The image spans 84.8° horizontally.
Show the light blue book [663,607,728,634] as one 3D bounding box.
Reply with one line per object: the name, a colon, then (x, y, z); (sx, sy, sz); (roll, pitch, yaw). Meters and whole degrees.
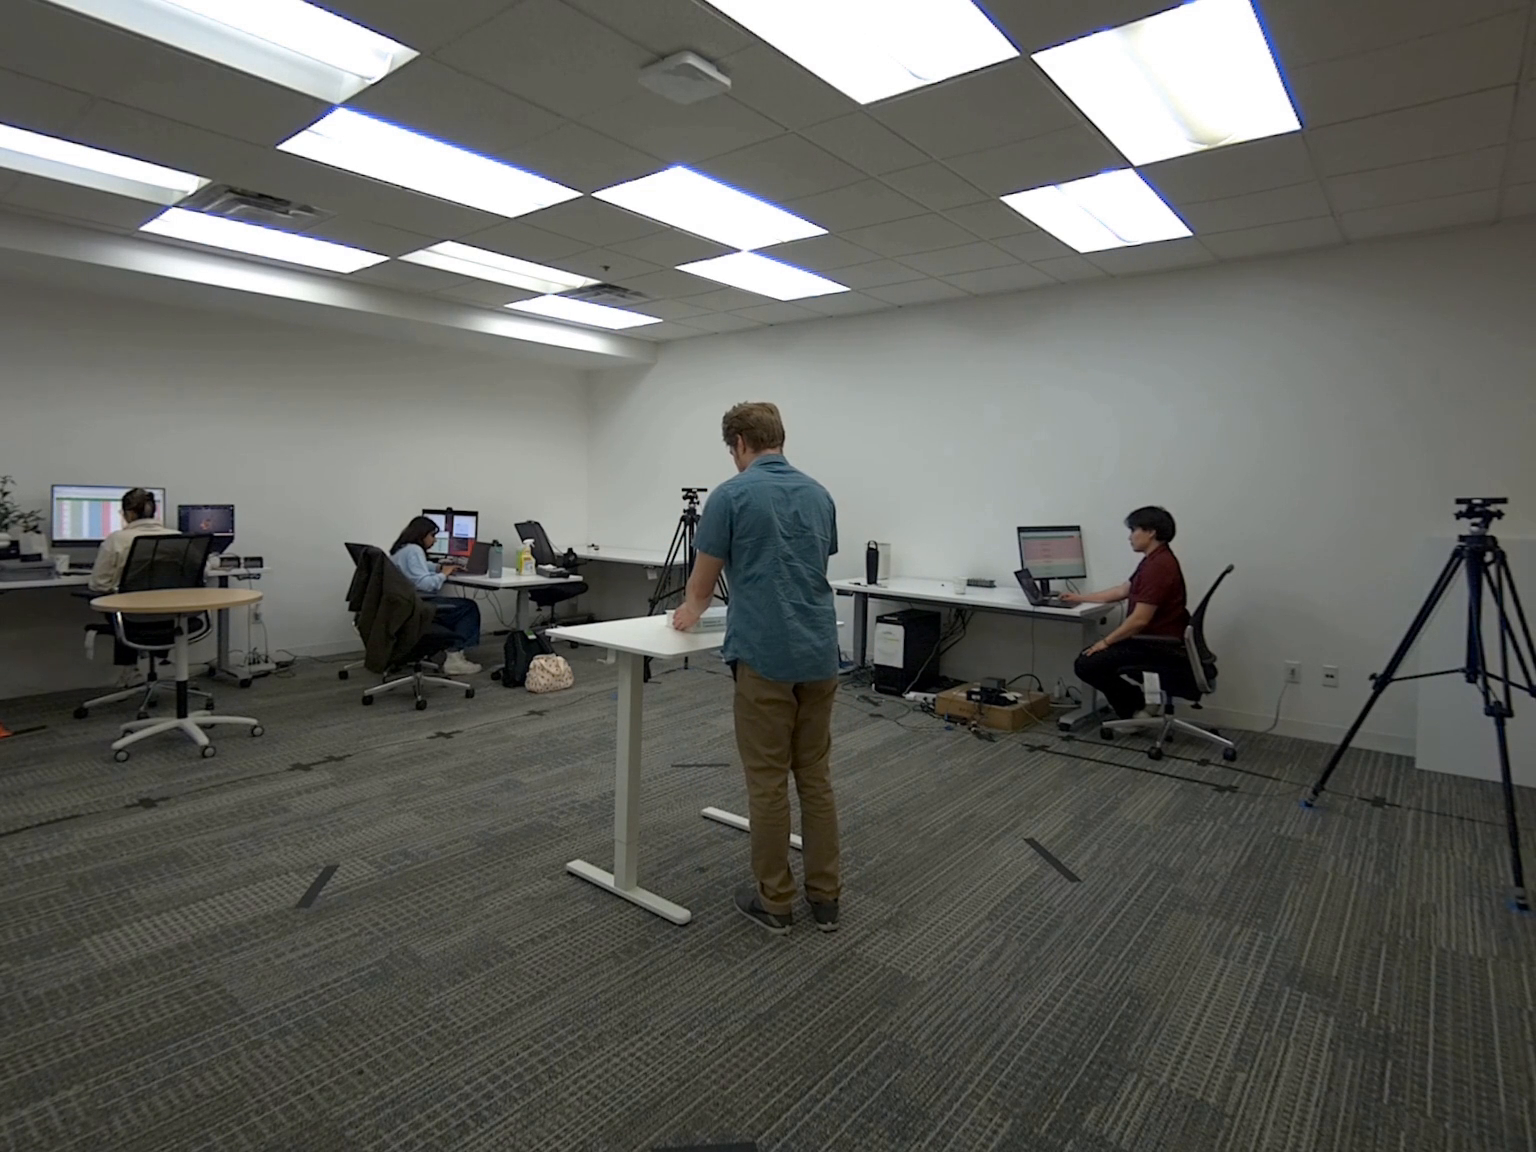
light blue book: (-0.228, 0.160, 3.114); (0.253, 0.059, 0.198); (-2, 6, -37)
